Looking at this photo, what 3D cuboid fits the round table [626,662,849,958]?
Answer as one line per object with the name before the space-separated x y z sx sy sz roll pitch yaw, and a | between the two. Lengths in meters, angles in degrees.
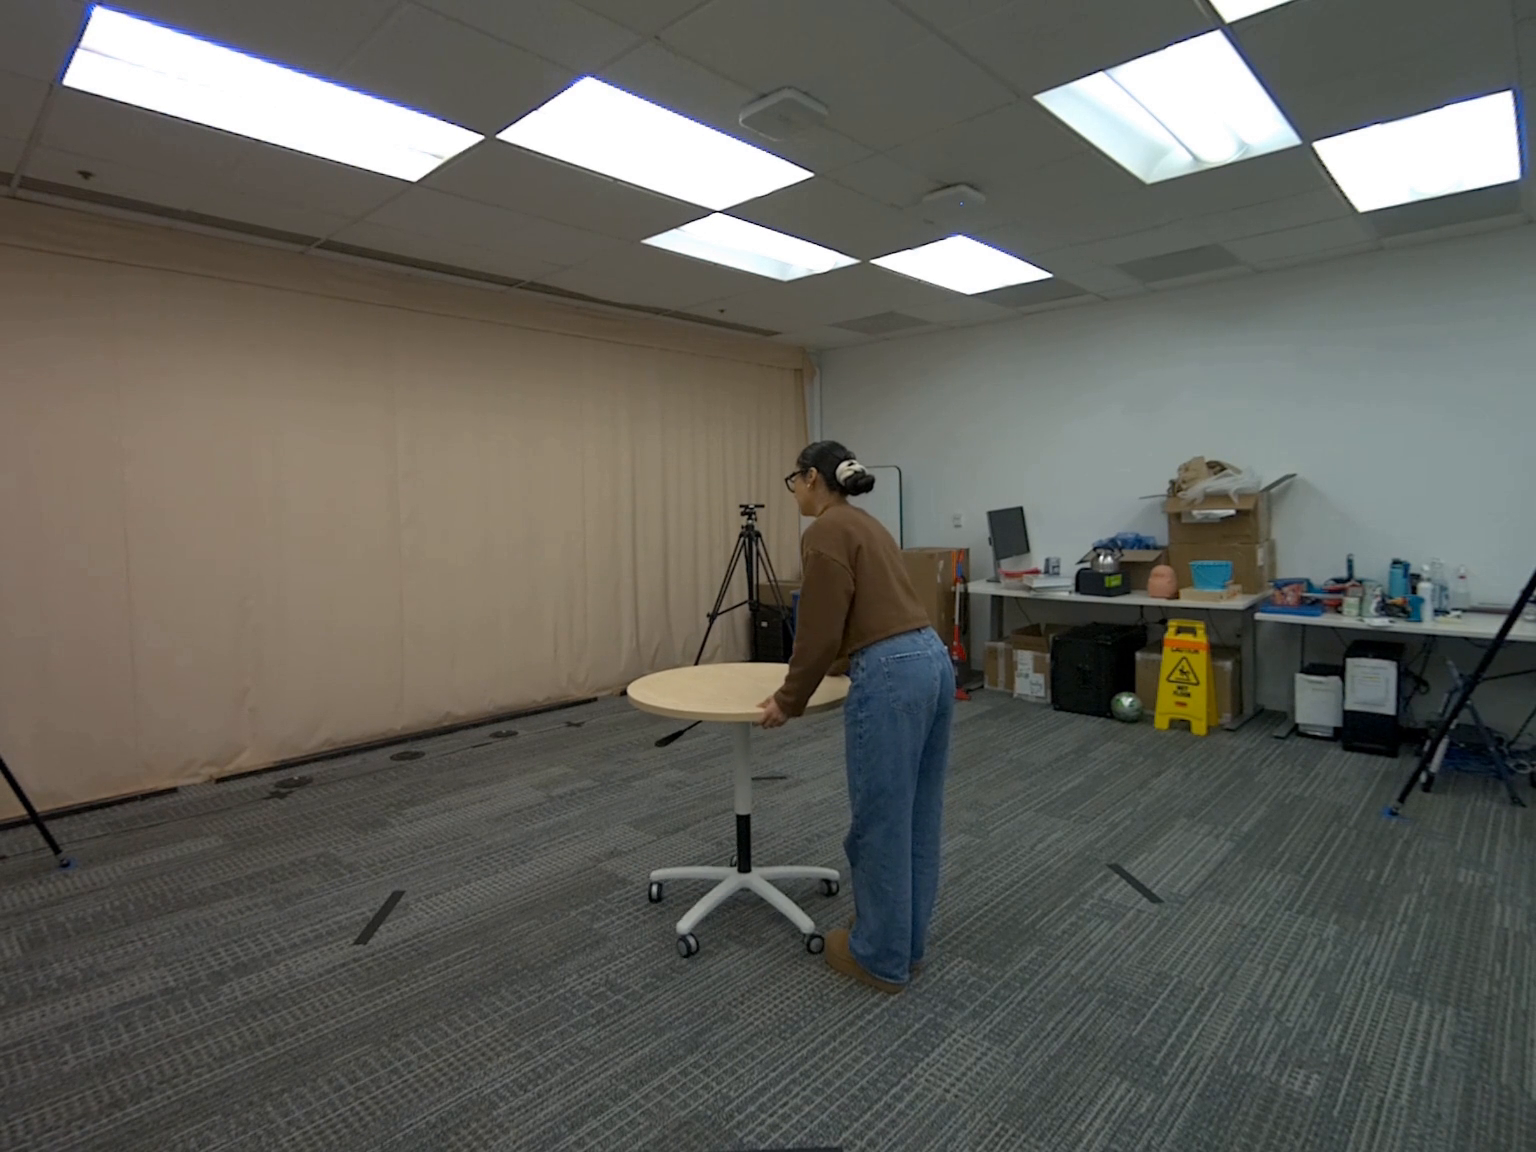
round table | -0.082 0.762 2.875 0.763 0.792 0.767 -2 4 -2
